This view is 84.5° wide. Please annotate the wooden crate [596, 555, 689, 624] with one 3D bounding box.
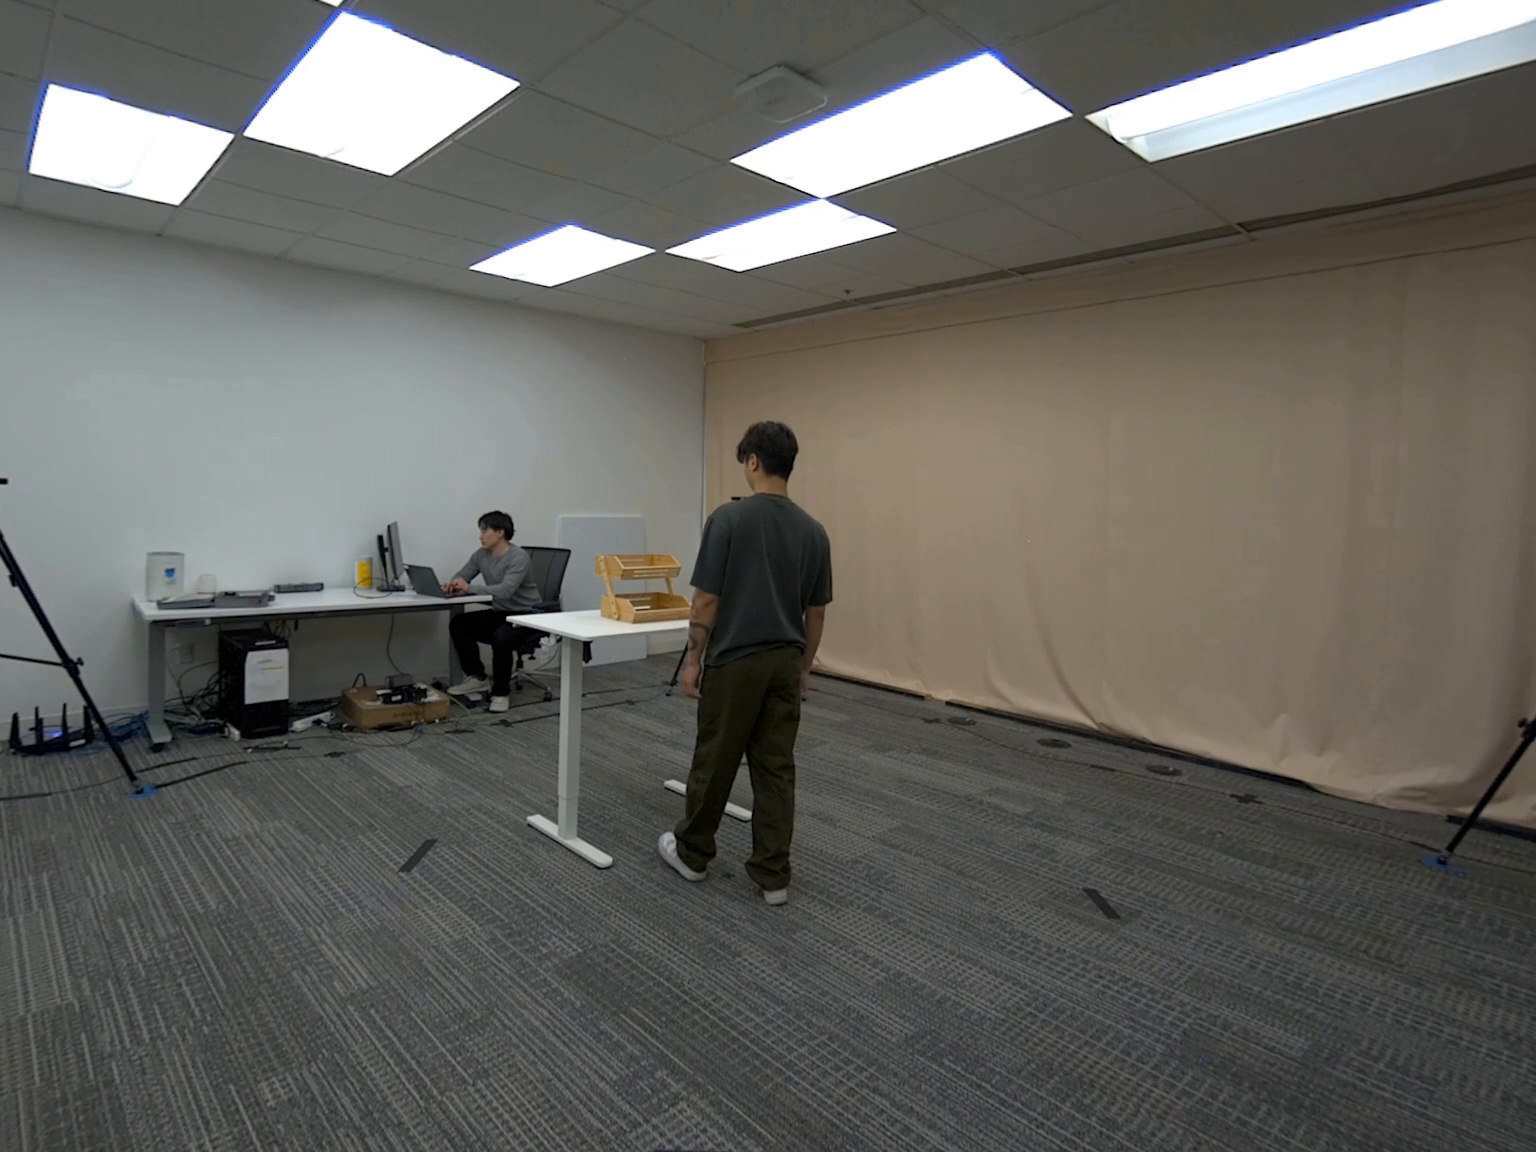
[{"bbox_3d":[-0.529,0.042,3.559,0.317,0.273,0.310,-1,5,-43],"label":"wooden crate"}]
